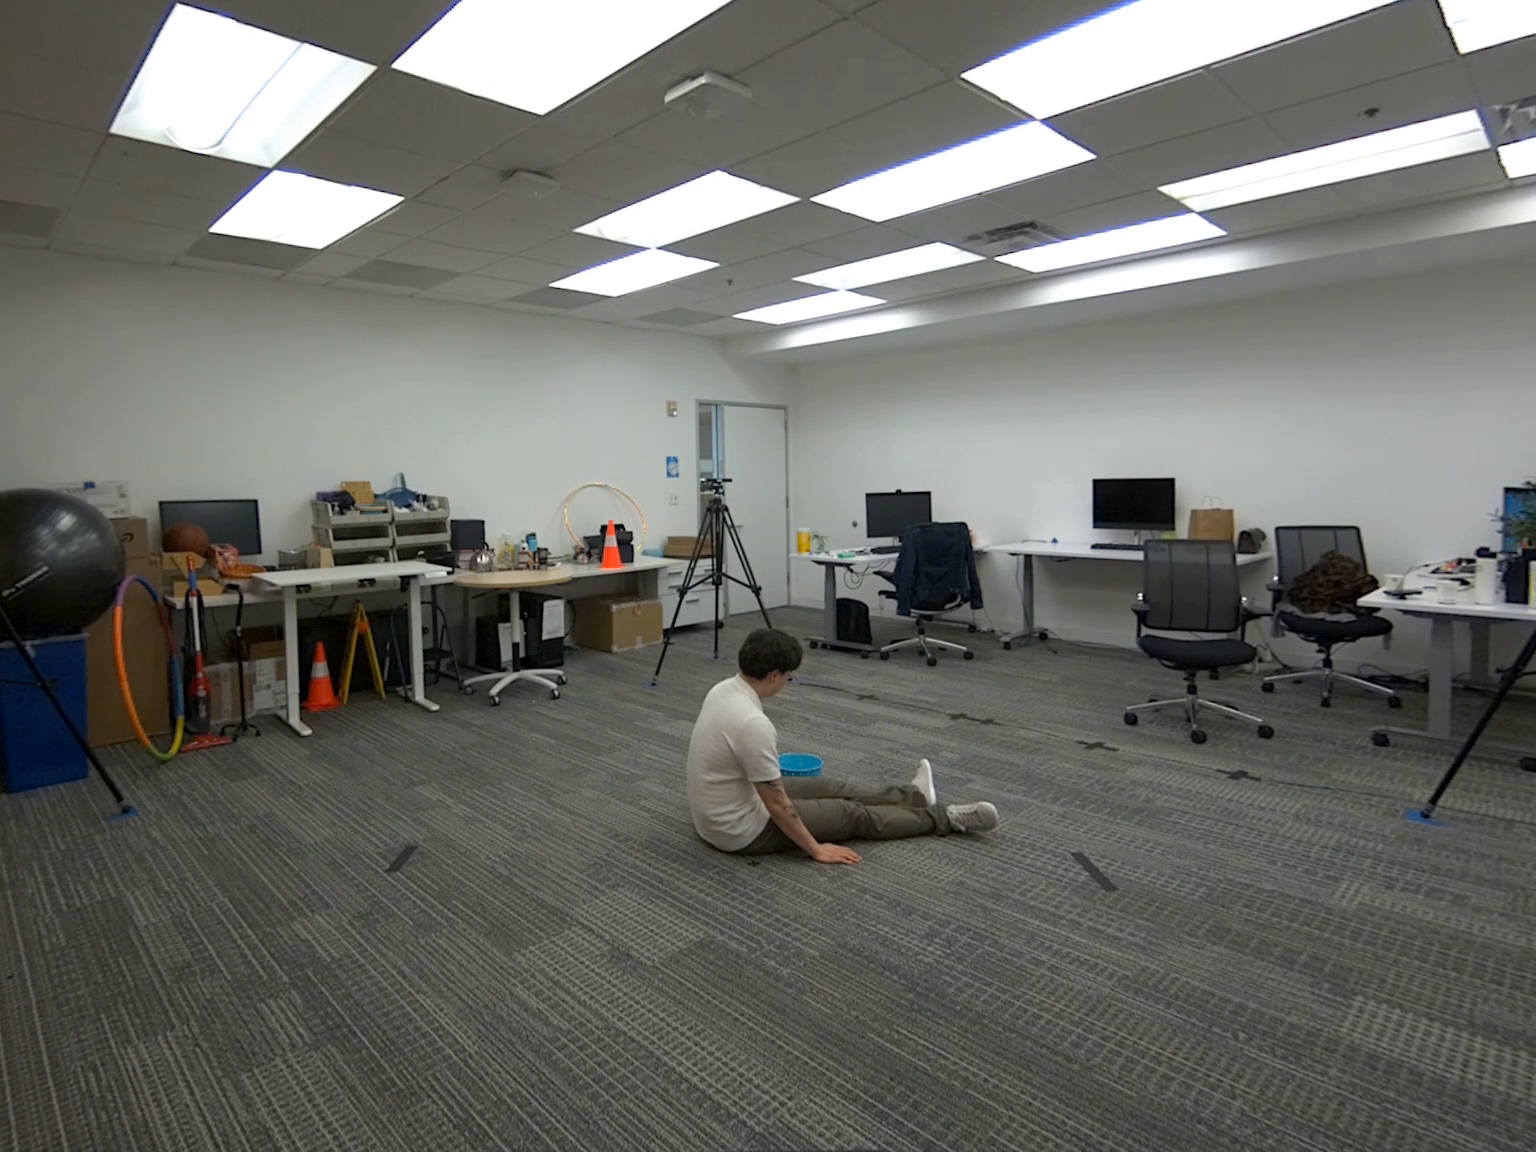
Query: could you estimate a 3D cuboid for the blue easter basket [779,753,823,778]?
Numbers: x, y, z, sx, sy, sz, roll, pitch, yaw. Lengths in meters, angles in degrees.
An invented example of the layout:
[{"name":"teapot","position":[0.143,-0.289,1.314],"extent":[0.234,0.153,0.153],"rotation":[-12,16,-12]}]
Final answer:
[{"name":"blue easter basket","position":[0.135,0.888,3.767],"extent":[0.243,0.155,0.245],"rotation":[-2,5,-2]}]
